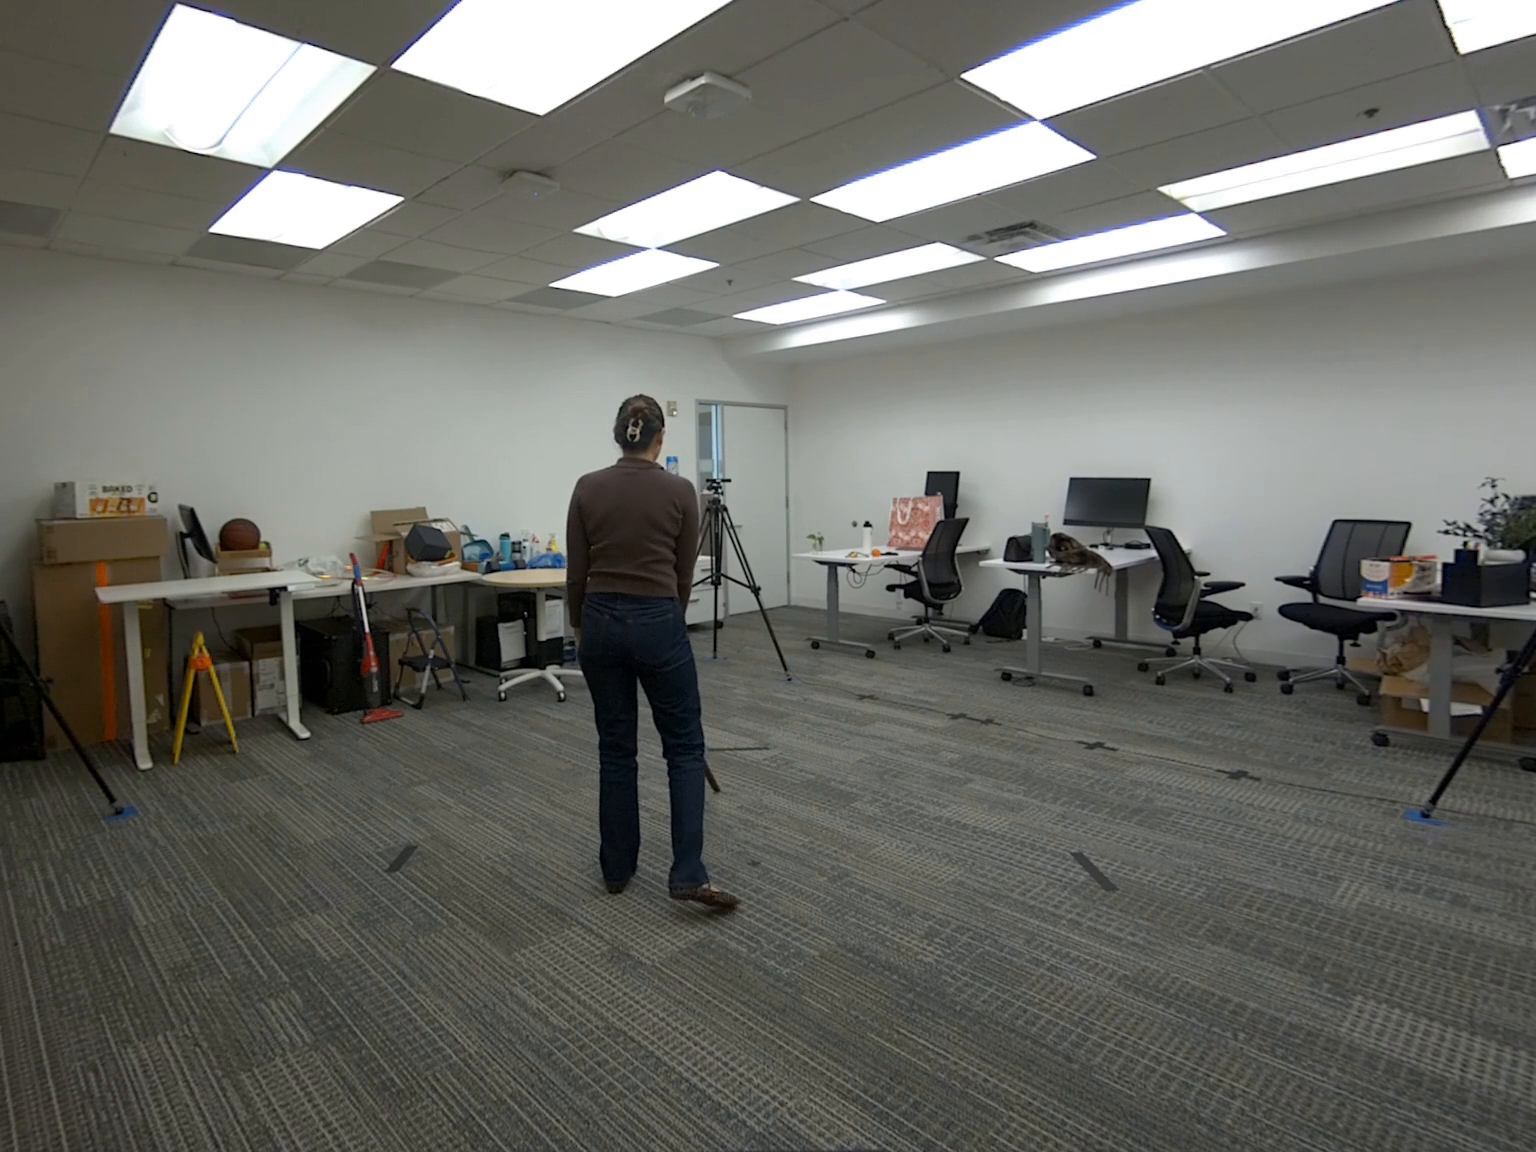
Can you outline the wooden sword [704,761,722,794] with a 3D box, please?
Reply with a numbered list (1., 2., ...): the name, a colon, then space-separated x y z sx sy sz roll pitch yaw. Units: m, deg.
1. wooden sword: -0.318 0.620 3.516 0.051 0.991 0.025 -30 45 -17
